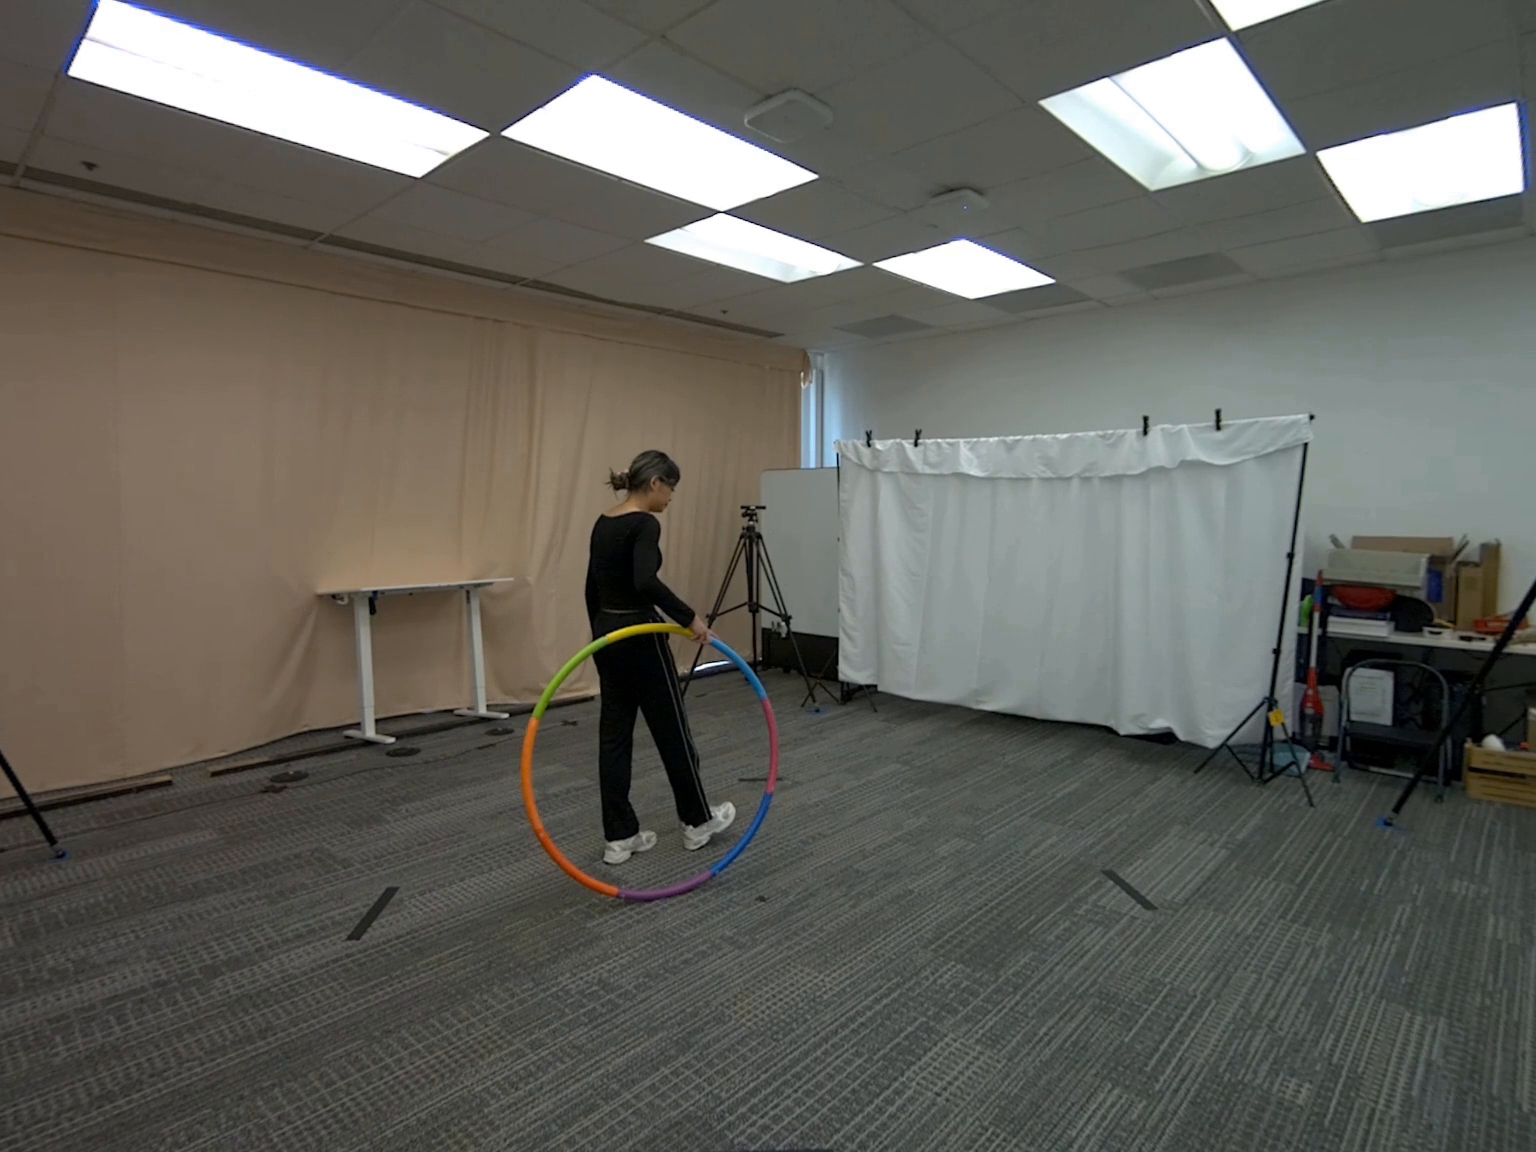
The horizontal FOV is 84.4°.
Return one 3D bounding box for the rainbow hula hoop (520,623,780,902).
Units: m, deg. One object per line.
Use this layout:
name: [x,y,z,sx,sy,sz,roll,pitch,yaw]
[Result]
rainbow hula hoop: [-0.389,0.662,3.058,0.954,0.983,0.036,-2,-7,-26]
